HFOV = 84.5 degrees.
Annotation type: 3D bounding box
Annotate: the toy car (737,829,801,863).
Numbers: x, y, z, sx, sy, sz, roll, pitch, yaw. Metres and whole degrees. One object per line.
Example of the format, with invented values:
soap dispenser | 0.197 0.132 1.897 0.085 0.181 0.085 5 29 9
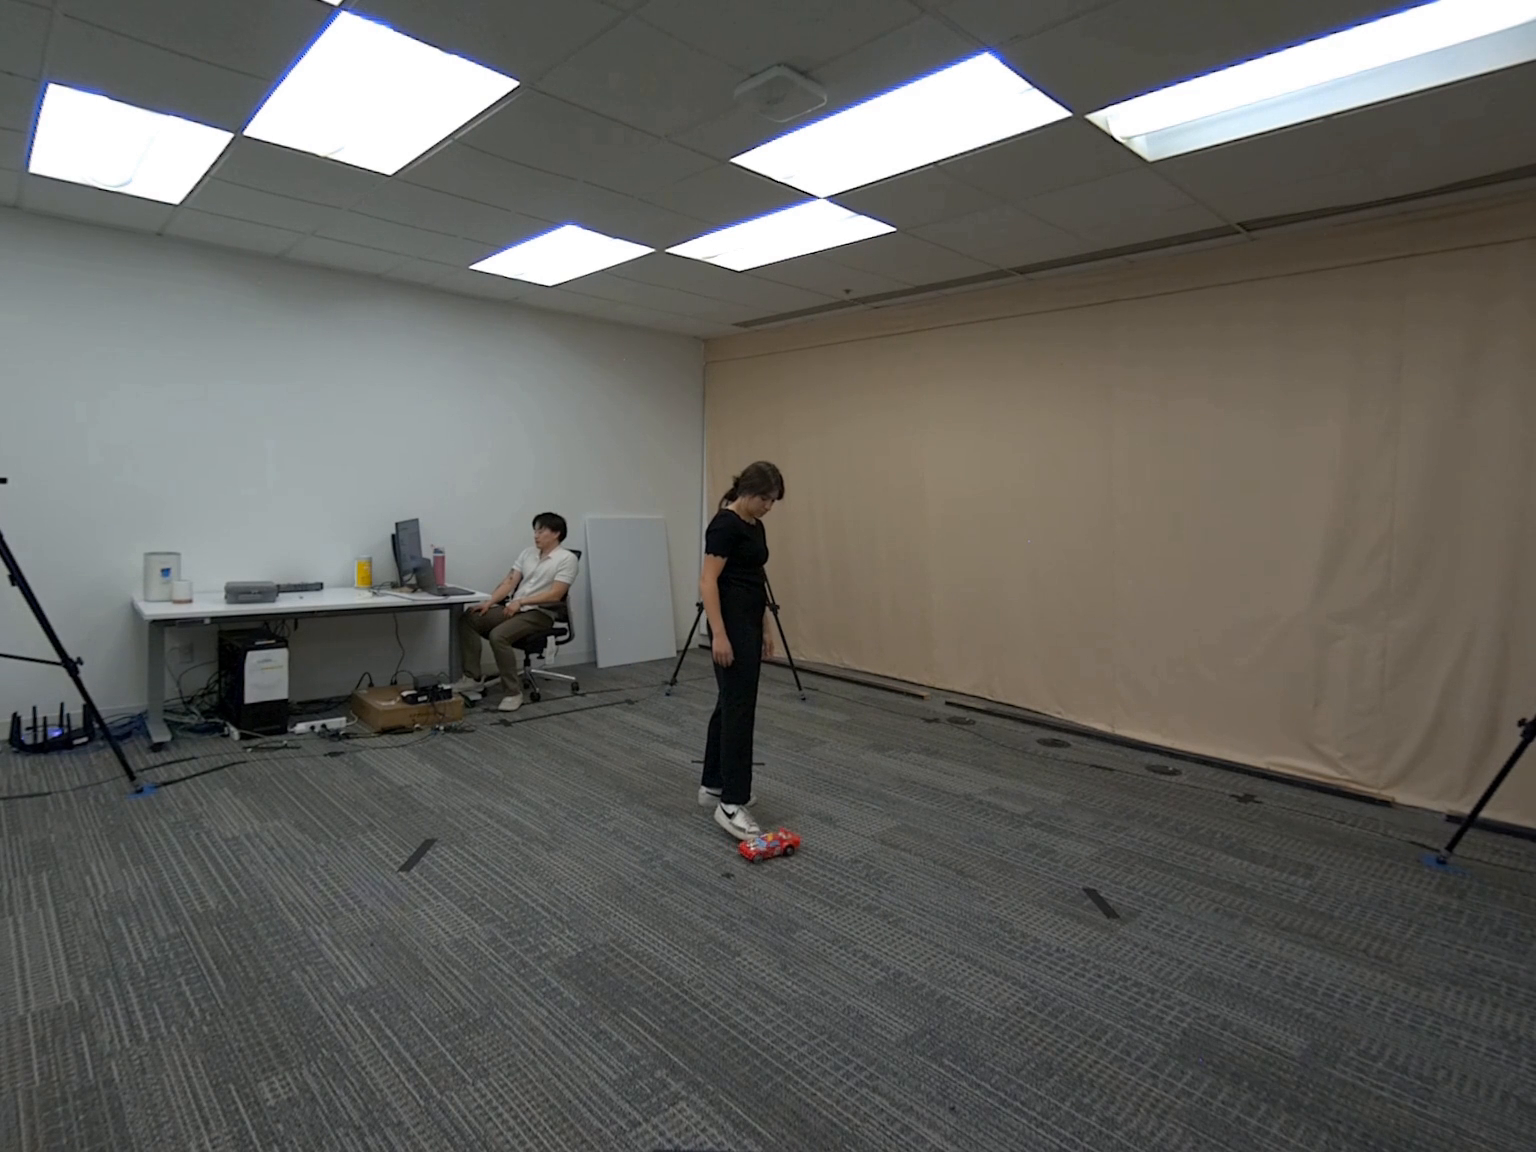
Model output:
toy car | 0.008 1.058 3.294 0.251 0.082 0.133 -15 12 -30
